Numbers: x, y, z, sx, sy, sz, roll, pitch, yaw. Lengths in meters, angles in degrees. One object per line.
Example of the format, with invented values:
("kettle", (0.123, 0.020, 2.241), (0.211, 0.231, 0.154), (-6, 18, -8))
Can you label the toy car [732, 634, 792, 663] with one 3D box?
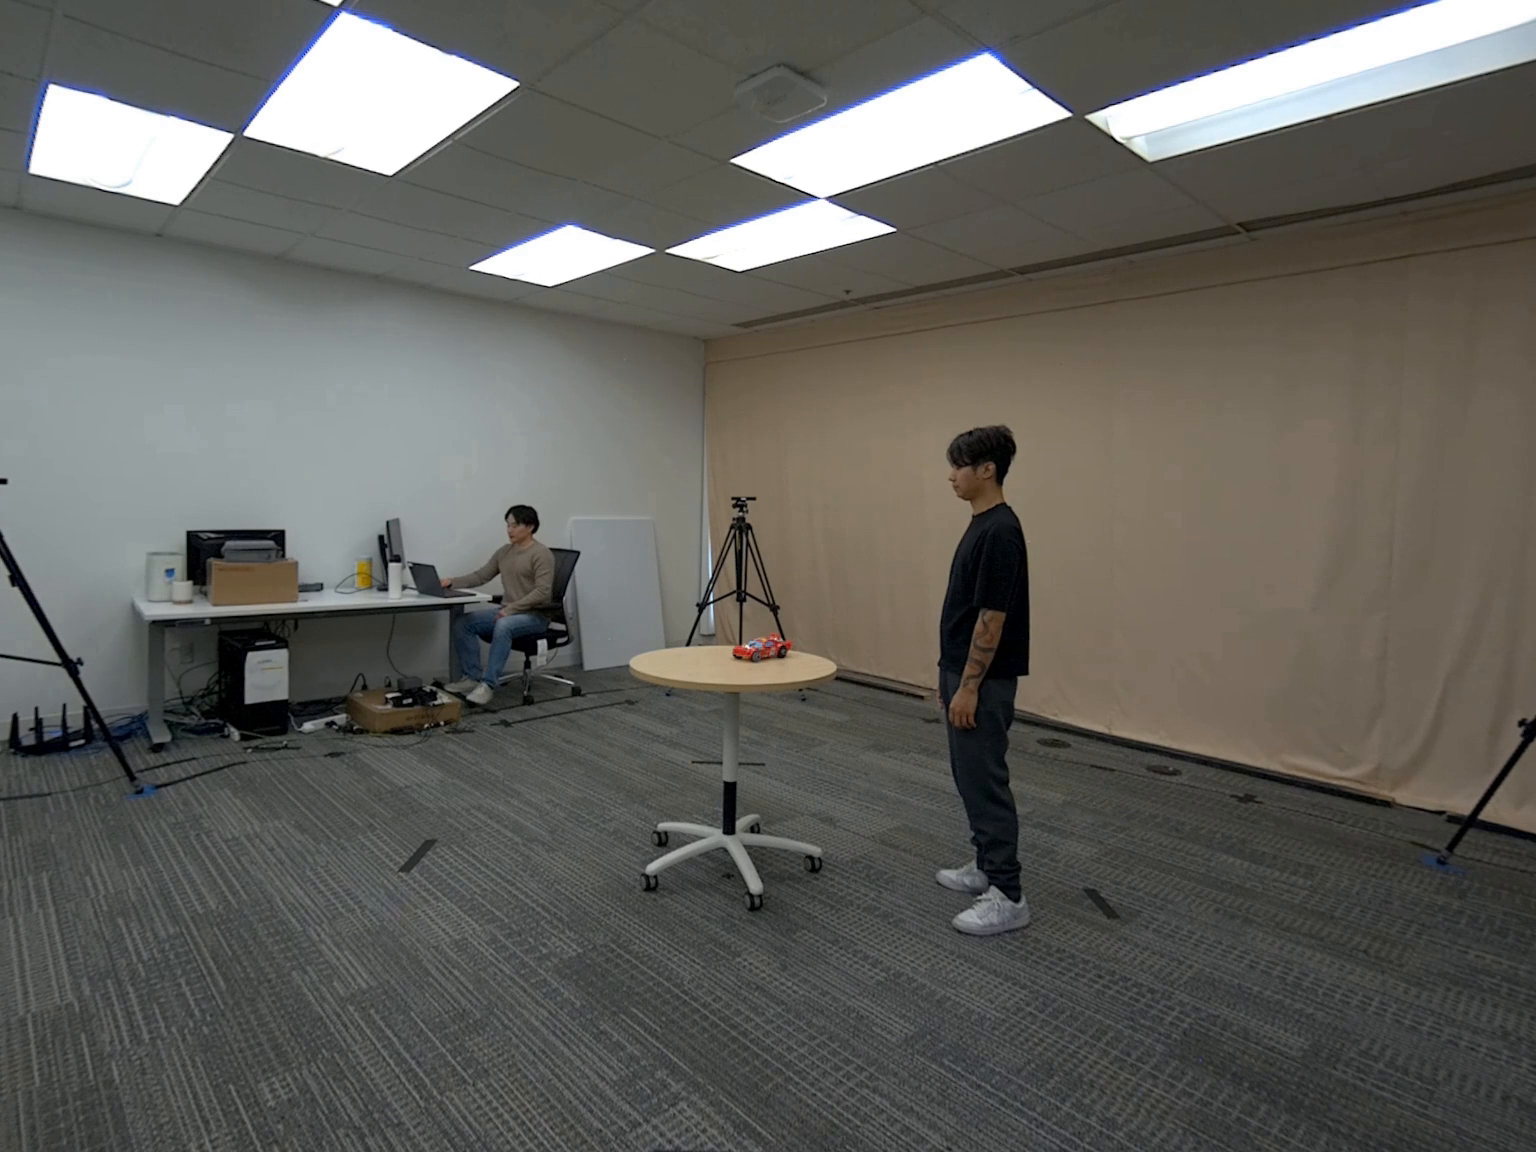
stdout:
("toy car", (-0.018, 0.282, 3.245), (0.250, 0.082, 0.133), (-17, 15, -43))
